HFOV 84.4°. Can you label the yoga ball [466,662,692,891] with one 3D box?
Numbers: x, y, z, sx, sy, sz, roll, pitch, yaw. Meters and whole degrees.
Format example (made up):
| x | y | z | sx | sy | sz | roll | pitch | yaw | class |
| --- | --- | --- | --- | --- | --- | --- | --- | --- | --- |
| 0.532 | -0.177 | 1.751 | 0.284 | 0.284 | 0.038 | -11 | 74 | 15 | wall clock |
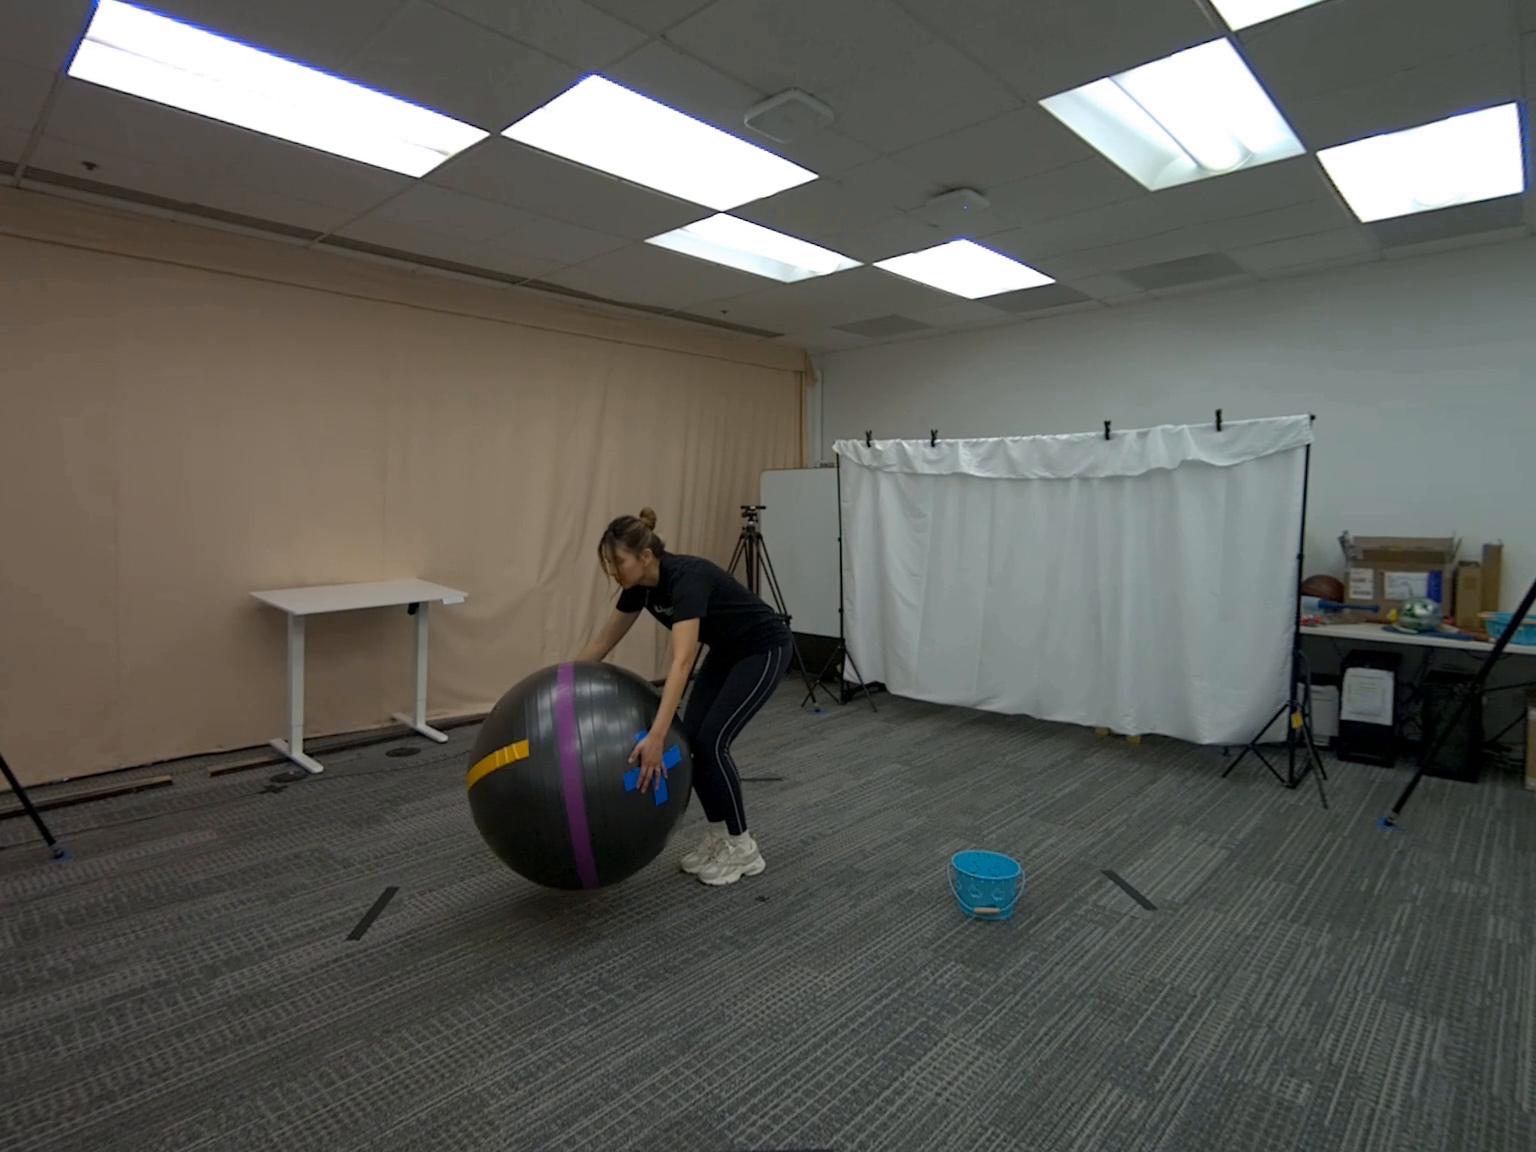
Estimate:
| x | y | z | sx | sy | sz | roll | pitch | yaw | class |
| --- | --- | --- | --- | --- | --- | --- | --- | --- | --- |
| -0.643 | 0.671 | 2.884 | 0.757 | 0.756 | 0.761 | 0 | 4 | -2 | yoga ball |
